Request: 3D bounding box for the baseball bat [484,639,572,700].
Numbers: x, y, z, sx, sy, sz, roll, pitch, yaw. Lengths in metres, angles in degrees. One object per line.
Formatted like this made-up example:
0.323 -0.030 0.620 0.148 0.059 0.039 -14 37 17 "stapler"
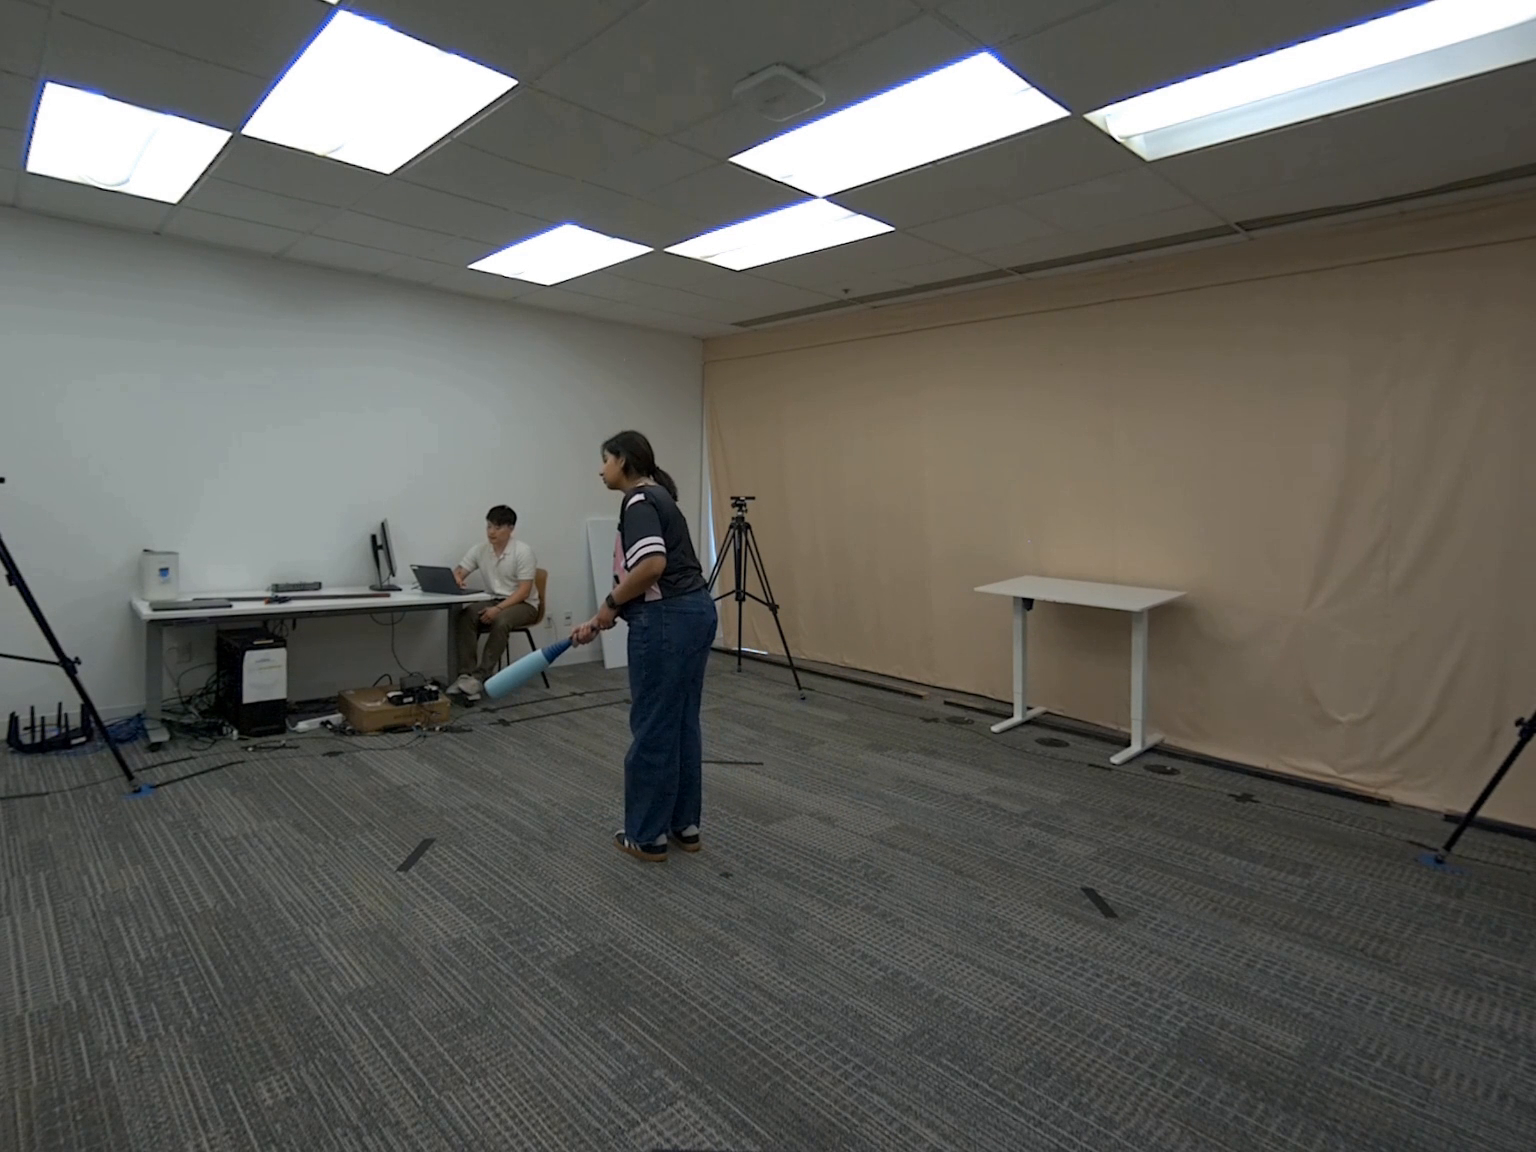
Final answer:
-0.827 0.296 3.170 0.542 0.088 0.090 -31 10 -8 "baseball bat"
